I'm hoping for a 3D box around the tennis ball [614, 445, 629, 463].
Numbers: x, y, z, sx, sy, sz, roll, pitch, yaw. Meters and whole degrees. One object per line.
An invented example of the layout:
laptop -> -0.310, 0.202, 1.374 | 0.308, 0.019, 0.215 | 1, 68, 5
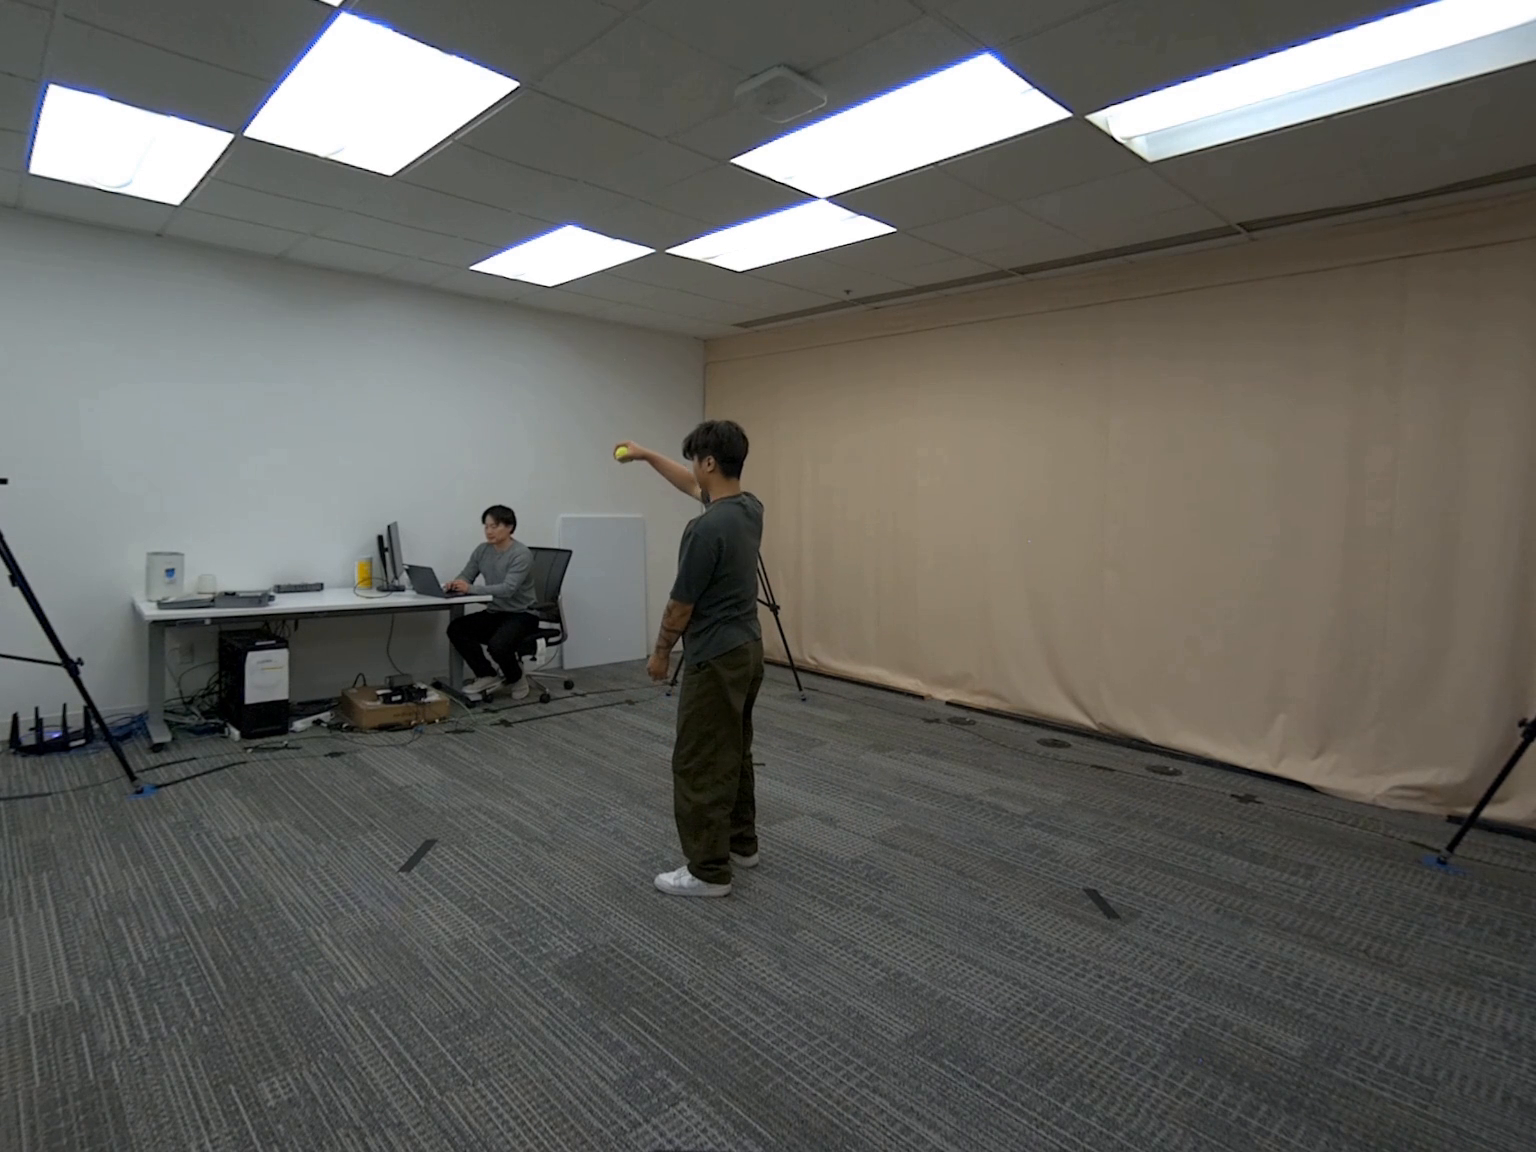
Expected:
tennis ball -> -0.564, -0.445, 3.306 | 0.066, 0.066, 0.067 | 1, 4, -1
